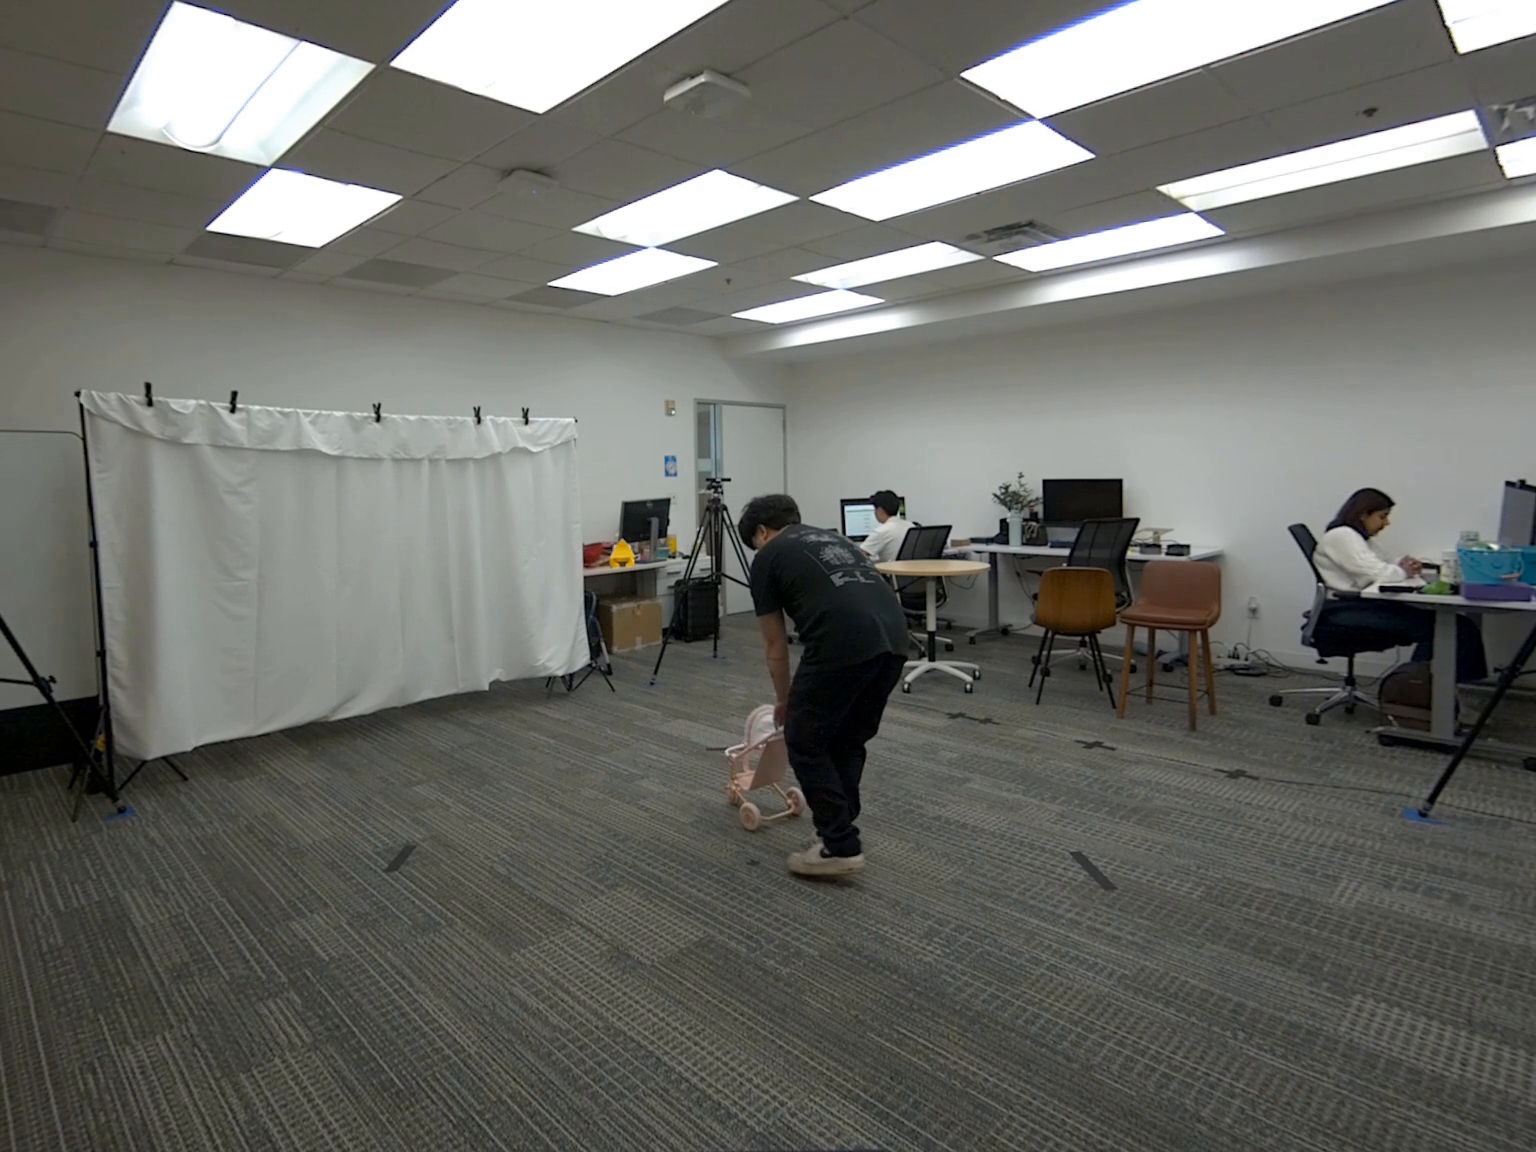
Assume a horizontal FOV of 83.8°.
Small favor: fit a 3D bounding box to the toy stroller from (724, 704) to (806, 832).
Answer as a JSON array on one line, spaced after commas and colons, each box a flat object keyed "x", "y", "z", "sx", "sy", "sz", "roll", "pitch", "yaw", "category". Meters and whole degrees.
[{"x": -0.019, "y": 0.767, "z": 3.515, "sx": 0.274, "sy": 0.529, "sz": 0.354, "roll": -3, "pitch": 20, "yaw": -37, "category": "toy stroller"}]
